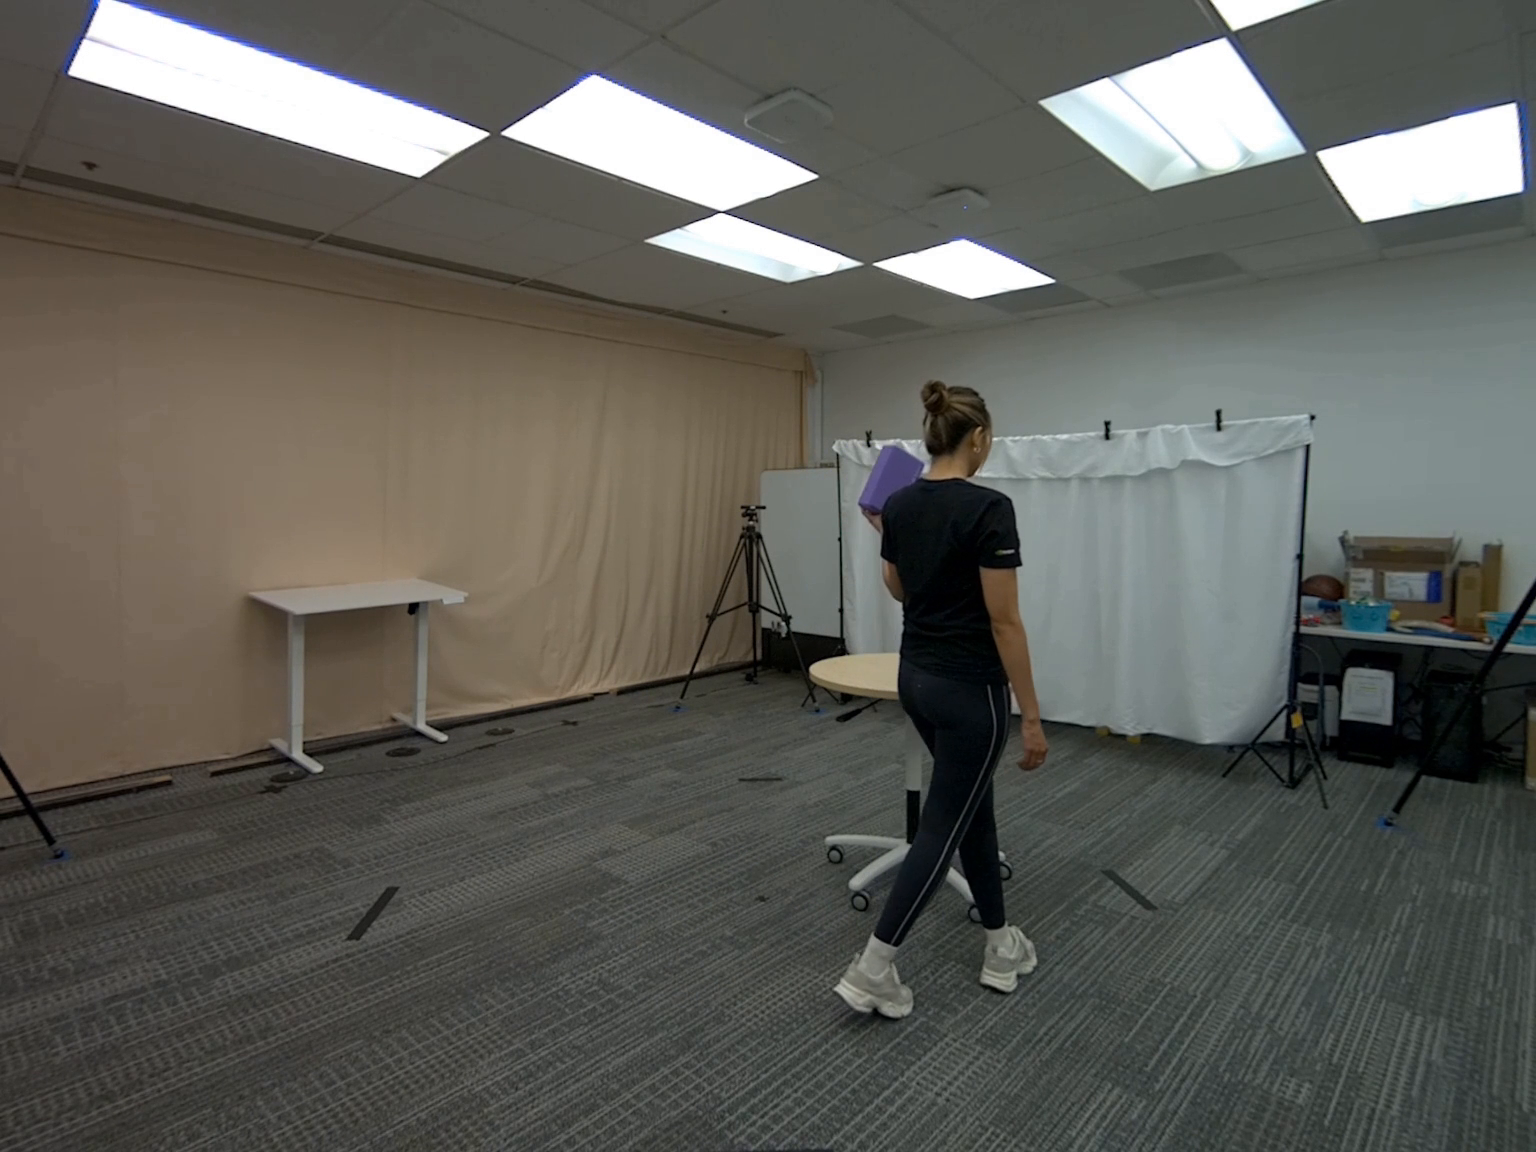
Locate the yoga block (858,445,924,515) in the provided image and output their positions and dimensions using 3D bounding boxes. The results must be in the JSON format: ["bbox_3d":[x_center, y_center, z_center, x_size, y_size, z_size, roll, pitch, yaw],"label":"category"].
[{"bbox_3d":[0.417,-0.312,2.842,0.145,0.229,0.078,26,-5,-24],"label":"yoga block"}]
